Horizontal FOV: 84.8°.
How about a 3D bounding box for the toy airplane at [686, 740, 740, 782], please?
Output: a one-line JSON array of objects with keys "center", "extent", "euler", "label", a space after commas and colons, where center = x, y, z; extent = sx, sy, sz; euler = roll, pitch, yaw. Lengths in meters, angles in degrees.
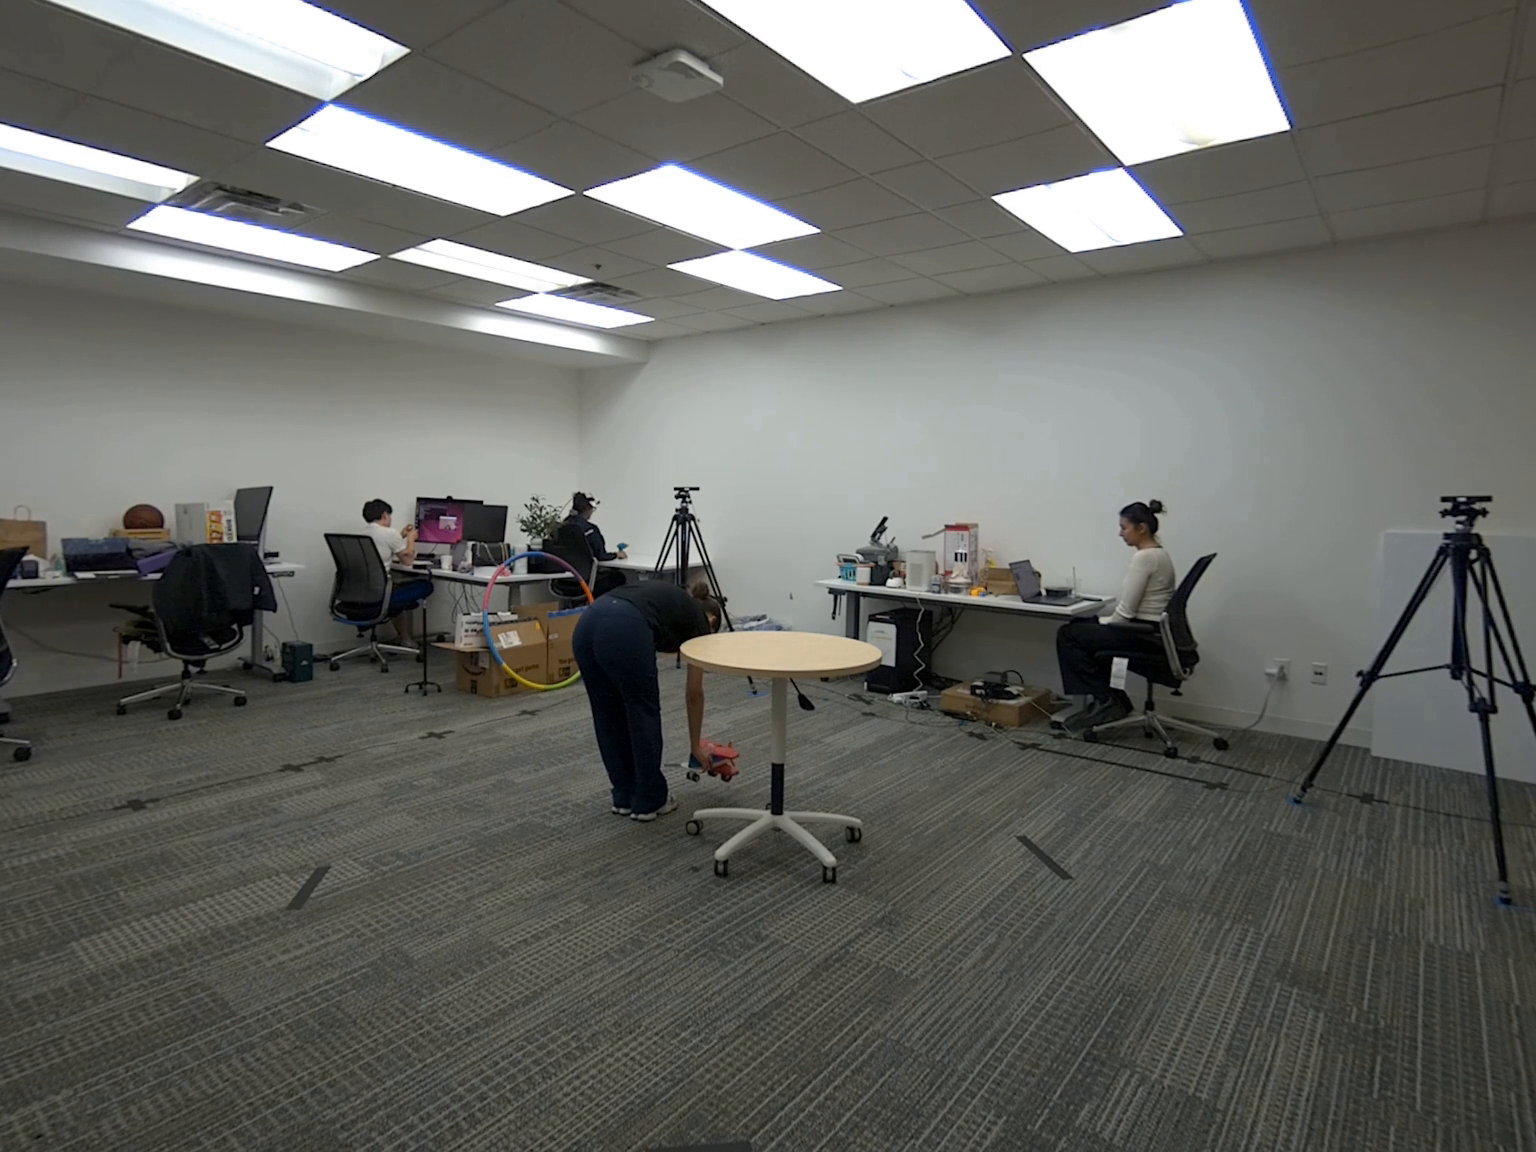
[{"center": [-0.232, 0.835, 3.819], "extent": [0.256, 0.157, 0.254], "euler": [9, -3, 14], "label": "toy airplane"}]
